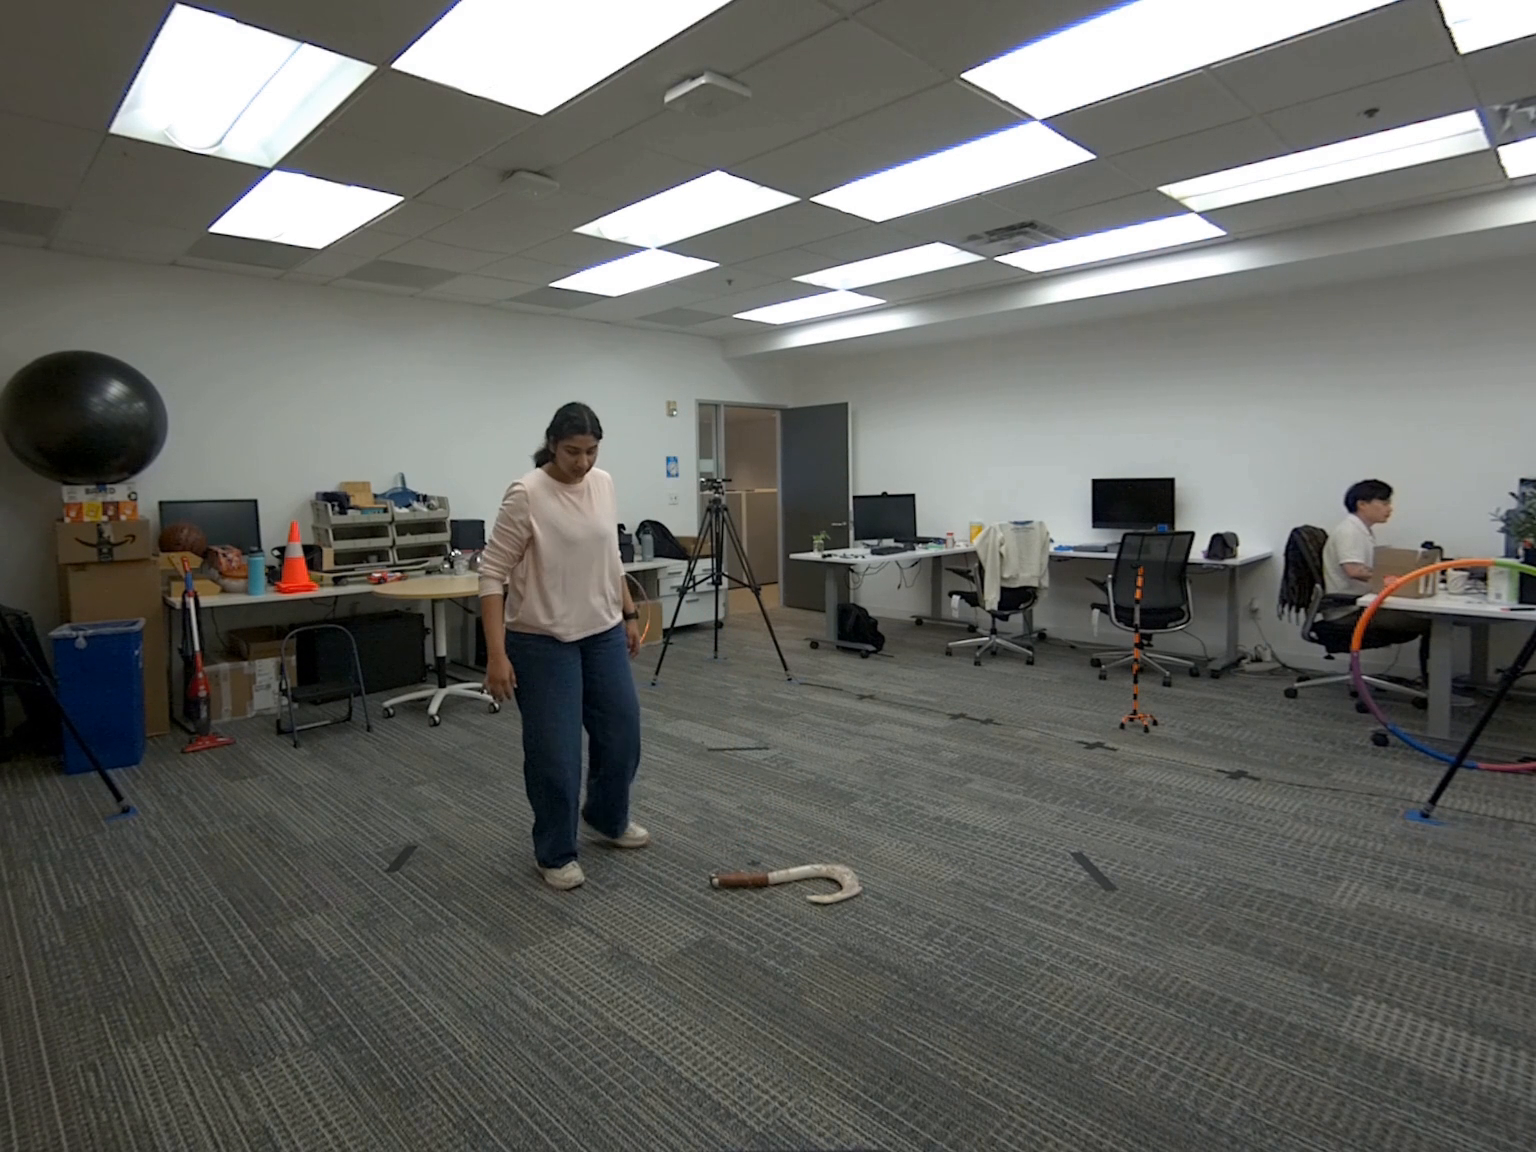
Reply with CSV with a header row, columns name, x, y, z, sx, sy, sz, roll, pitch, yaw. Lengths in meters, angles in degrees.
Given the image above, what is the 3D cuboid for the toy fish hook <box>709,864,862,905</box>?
name,x,y,z,sx,sy,sz,roll,pitch,yaw
toy fish hook,0.056,1.039,2.889,0.504,0.048,0.226,-2,5,-5
